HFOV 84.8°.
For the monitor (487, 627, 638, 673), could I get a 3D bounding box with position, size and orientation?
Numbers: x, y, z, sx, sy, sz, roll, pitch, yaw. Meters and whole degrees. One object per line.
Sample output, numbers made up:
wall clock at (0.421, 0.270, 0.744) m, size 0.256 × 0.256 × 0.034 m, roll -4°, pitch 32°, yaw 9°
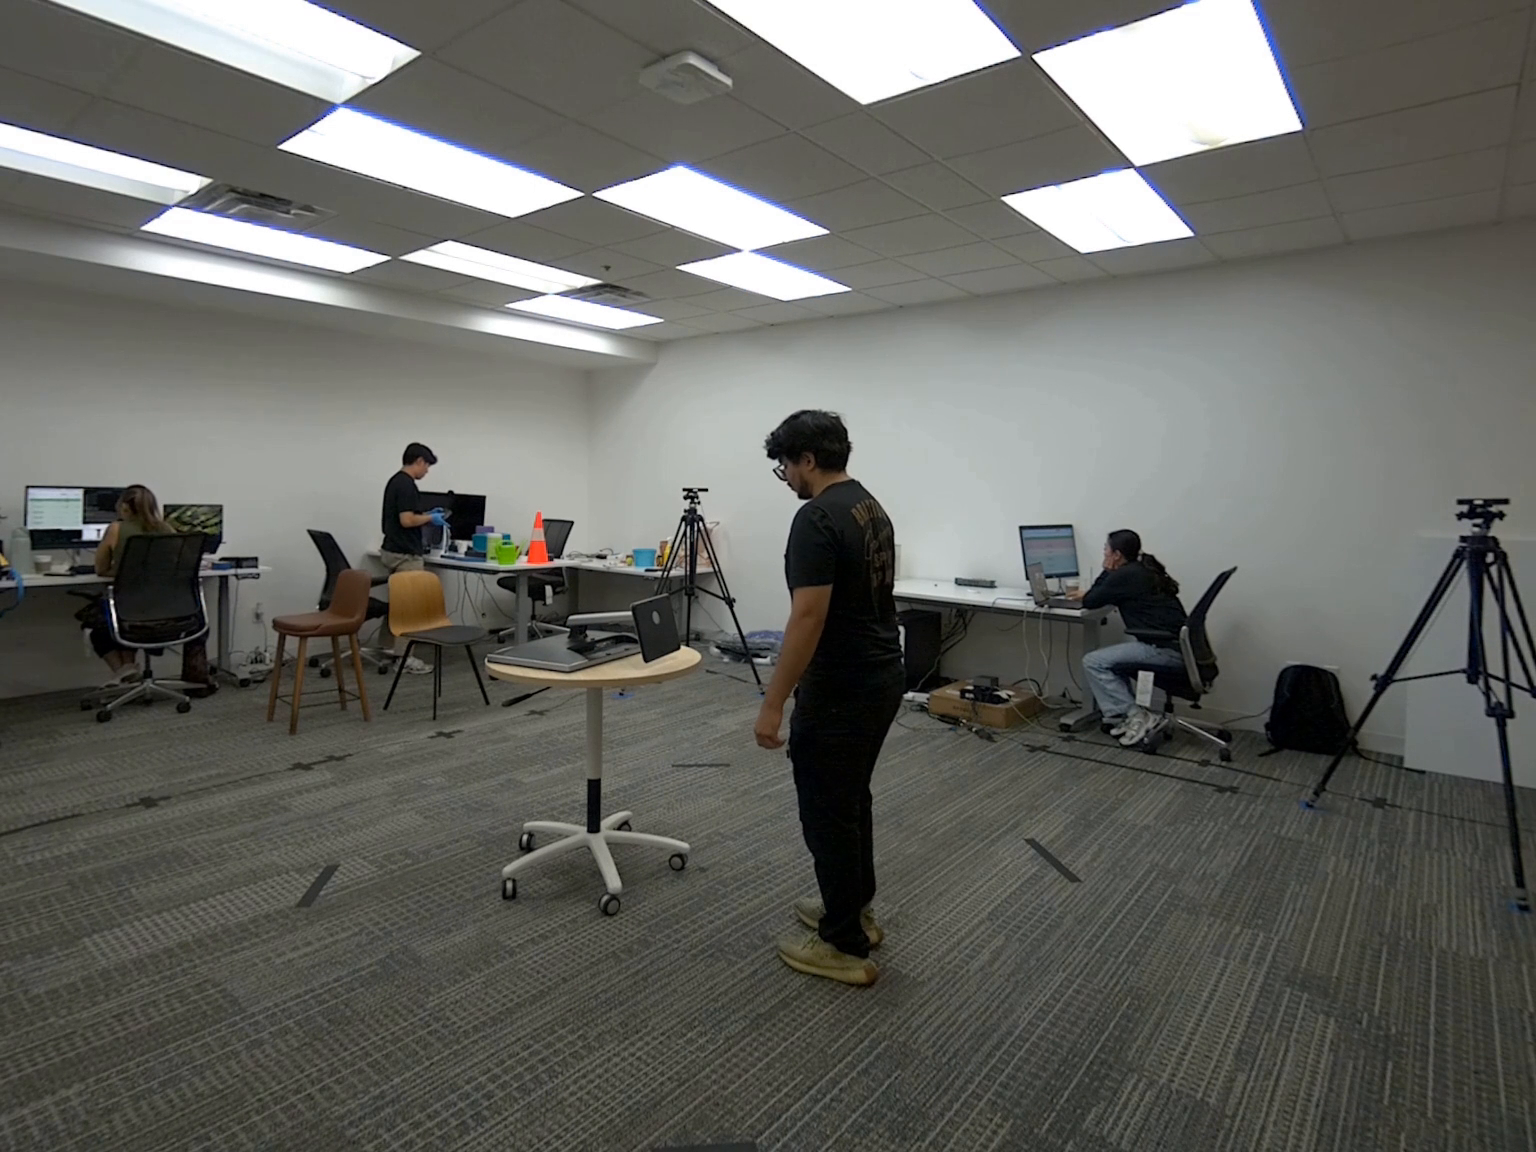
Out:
monitor at (-0.630, 0.193, 3.061) m, size 0.568 × 0.210 × 0.552 m, roll -3°, pitch 3°, yaw 27°
